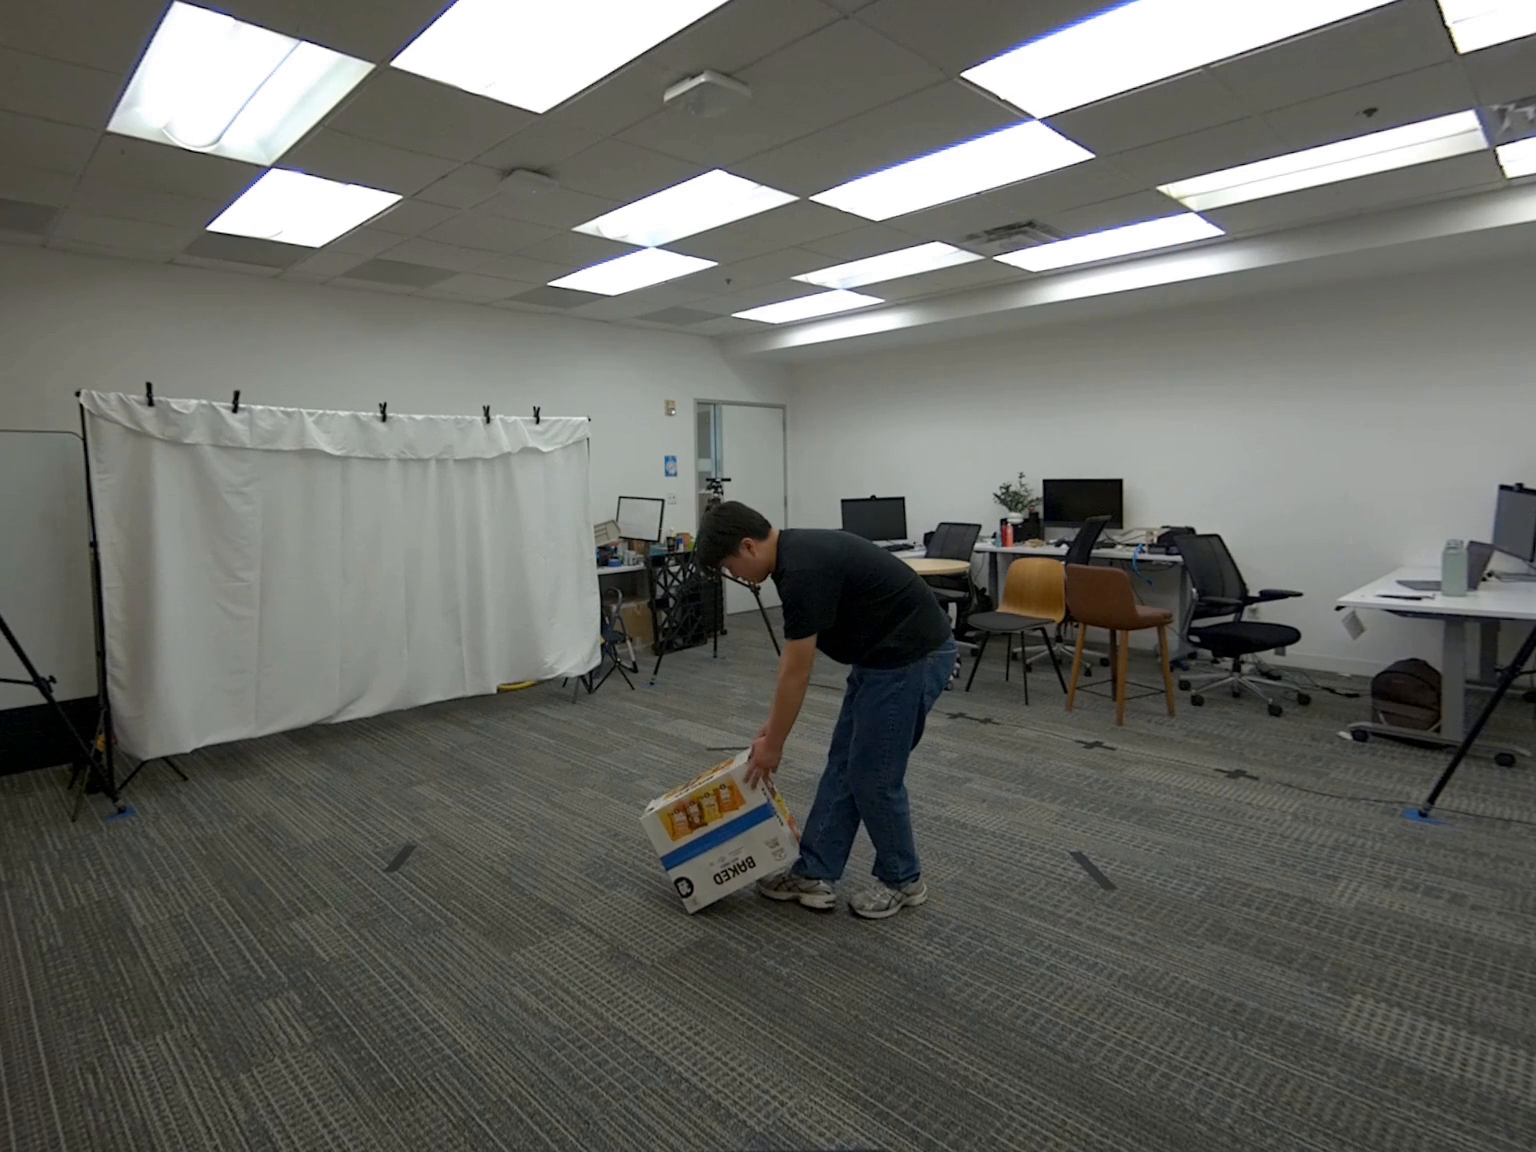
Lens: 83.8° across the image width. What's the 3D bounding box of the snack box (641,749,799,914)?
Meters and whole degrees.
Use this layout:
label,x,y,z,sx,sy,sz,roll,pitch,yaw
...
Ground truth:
label,x,y,z,sx,sy,sz,roll,pitch,yaw
snack box,-0.146,0.828,2.811,0.406,0.341,0.204,-30,-2,8
